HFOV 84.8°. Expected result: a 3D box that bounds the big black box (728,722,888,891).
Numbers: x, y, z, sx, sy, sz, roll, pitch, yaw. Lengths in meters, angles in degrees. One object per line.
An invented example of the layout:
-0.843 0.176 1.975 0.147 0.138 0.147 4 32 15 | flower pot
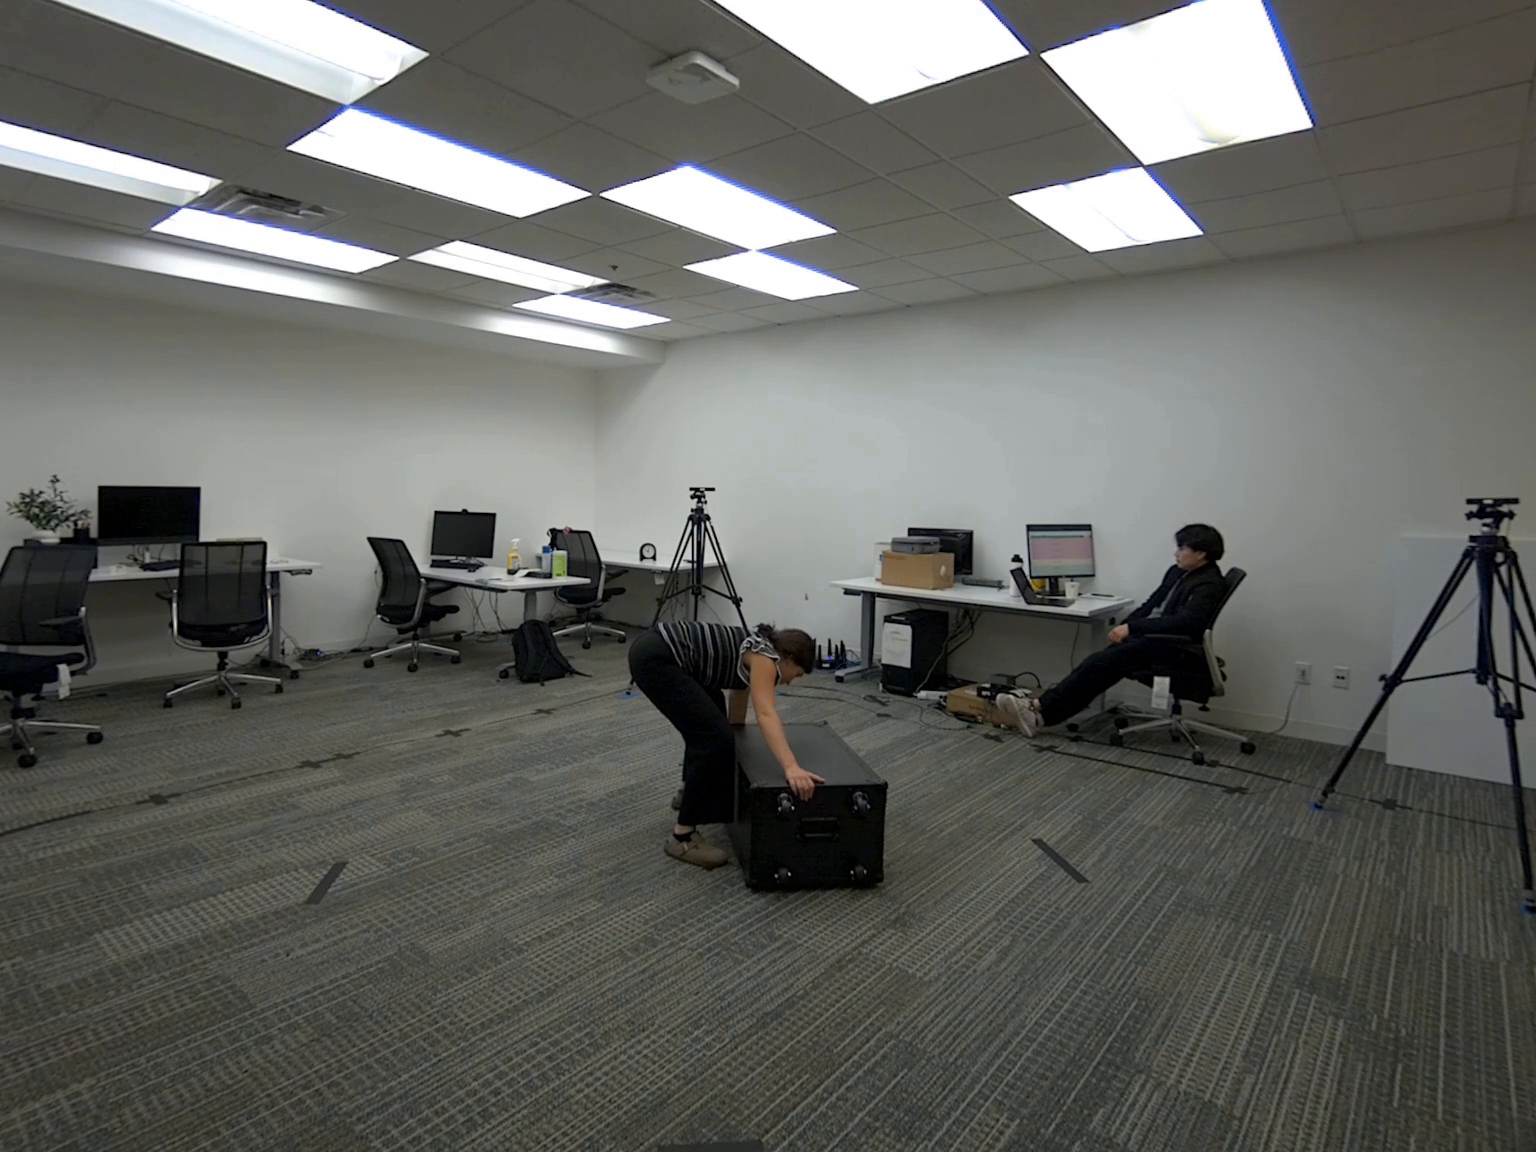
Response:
0.093 0.862 3.284 0.515 0.395 0.874 -1 5 -12 | big black box
